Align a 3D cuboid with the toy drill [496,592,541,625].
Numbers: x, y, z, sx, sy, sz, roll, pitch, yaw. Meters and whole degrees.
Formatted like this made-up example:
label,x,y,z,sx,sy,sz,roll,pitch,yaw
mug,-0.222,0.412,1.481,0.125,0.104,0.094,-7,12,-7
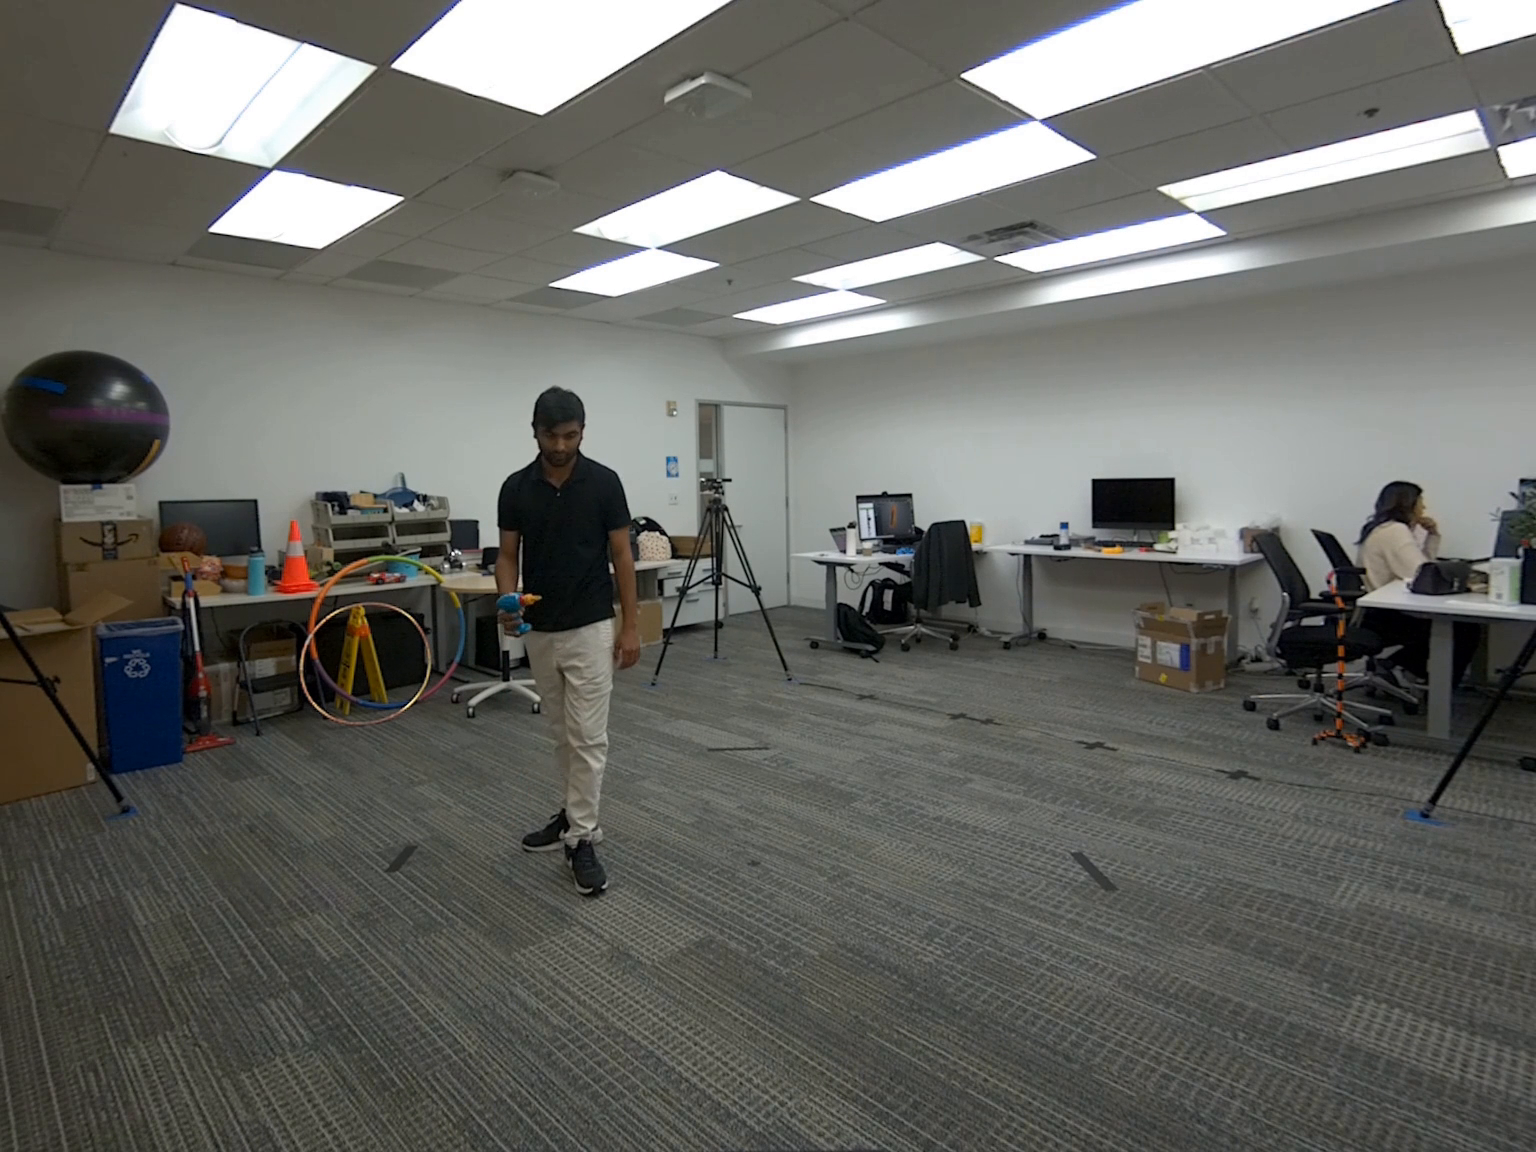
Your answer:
label,x,y,z,sx,sy,sz,roll,pitch,yaw
toy drill,-0.809,0.118,2.824,0.172,0.143,0.061,-10,21,17
